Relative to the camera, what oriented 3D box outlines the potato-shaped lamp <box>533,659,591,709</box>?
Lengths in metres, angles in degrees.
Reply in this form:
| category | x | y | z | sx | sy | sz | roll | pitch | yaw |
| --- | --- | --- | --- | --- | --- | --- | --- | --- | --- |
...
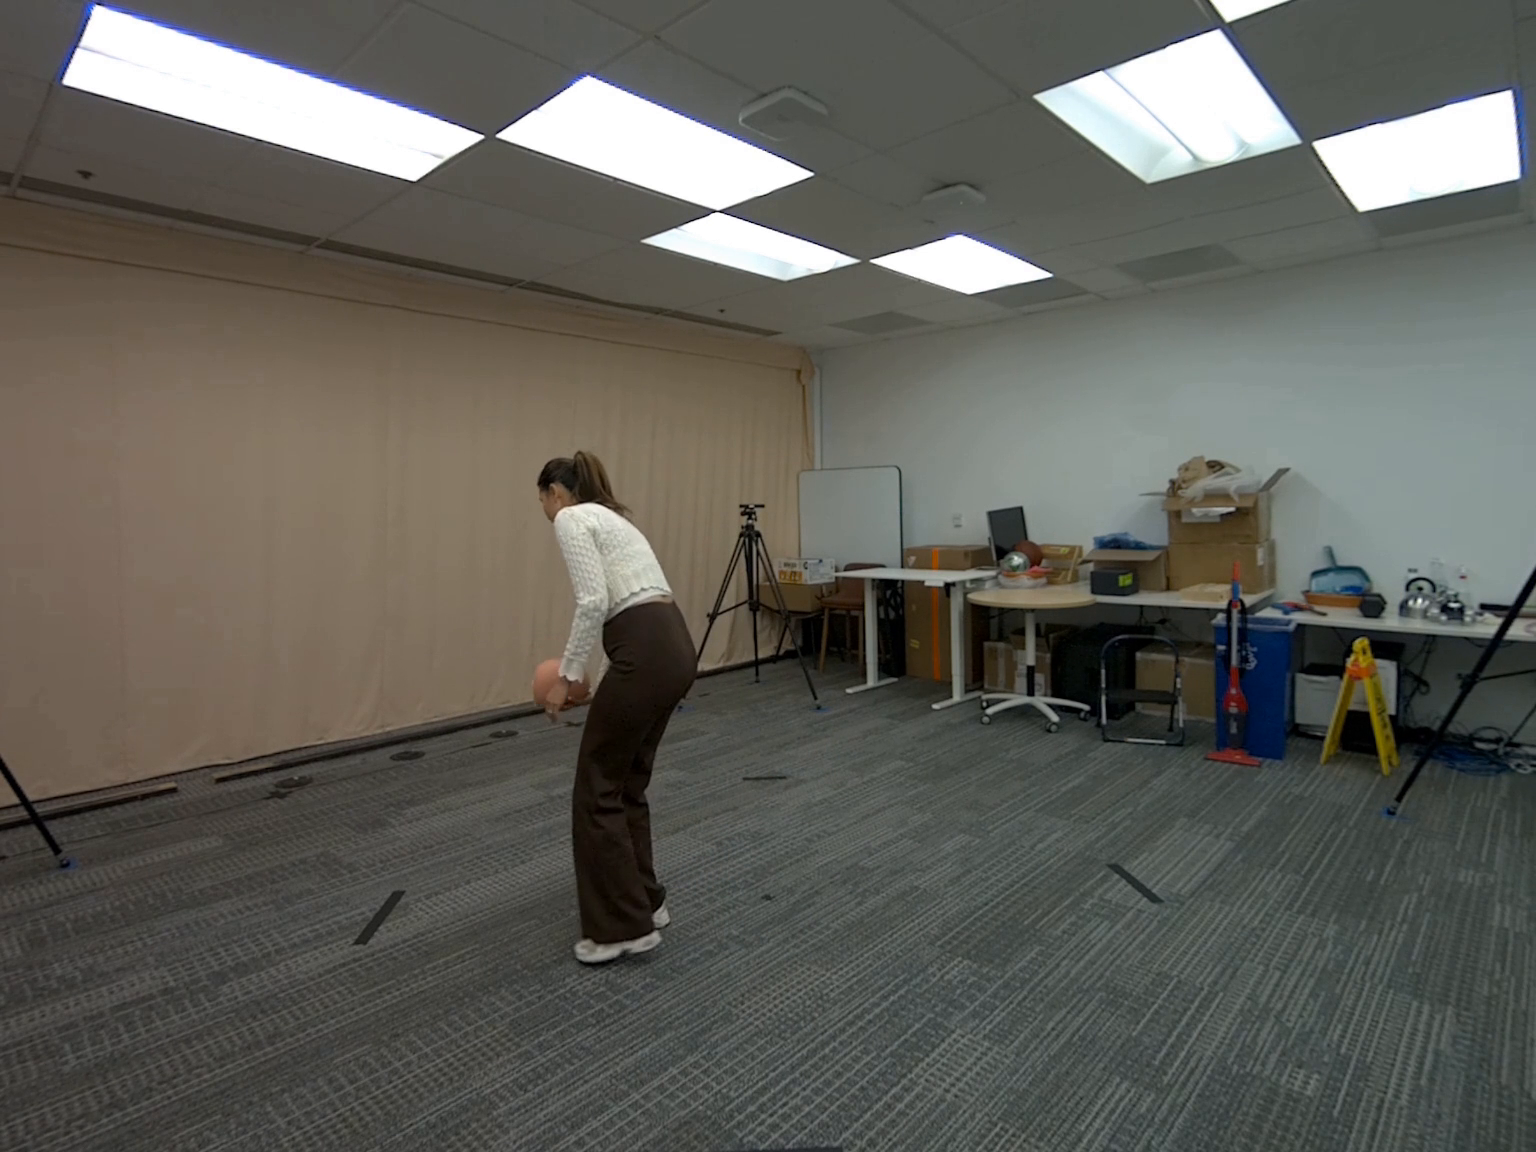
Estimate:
| category | x | y | z | sx | sy | sz | roll | pitch | yaw |
| --- | --- | --- | --- | --- | --- | --- | --- | --- | --- |
| potato-shaped lamp | -0.733 | 0.390 | 2.976 | 0.197 | 0.170 | 0.167 | 2 | 15 | -5 |
